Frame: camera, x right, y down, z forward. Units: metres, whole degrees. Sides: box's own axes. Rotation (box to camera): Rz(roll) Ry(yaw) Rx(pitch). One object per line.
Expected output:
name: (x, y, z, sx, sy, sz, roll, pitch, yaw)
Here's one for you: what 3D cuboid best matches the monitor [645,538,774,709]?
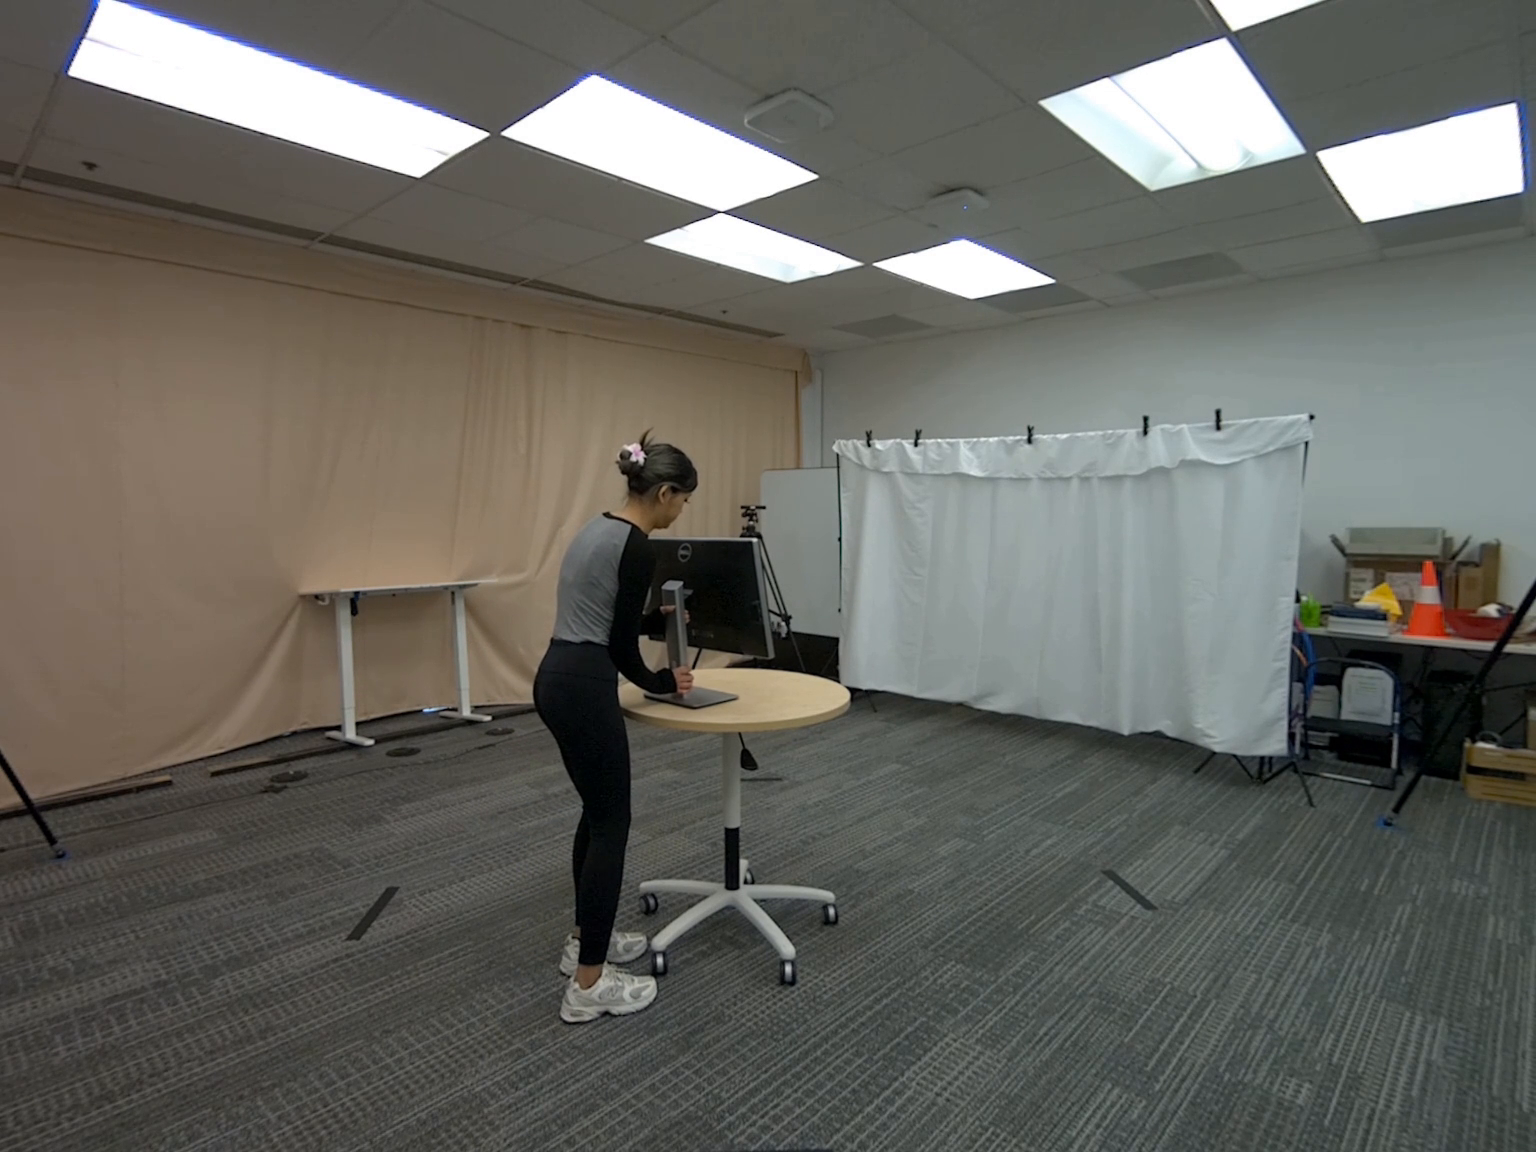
monitor: (-0.242, 0.142, 2.629, 0.557, 0.522, 0.181, 3, 2, 41)
